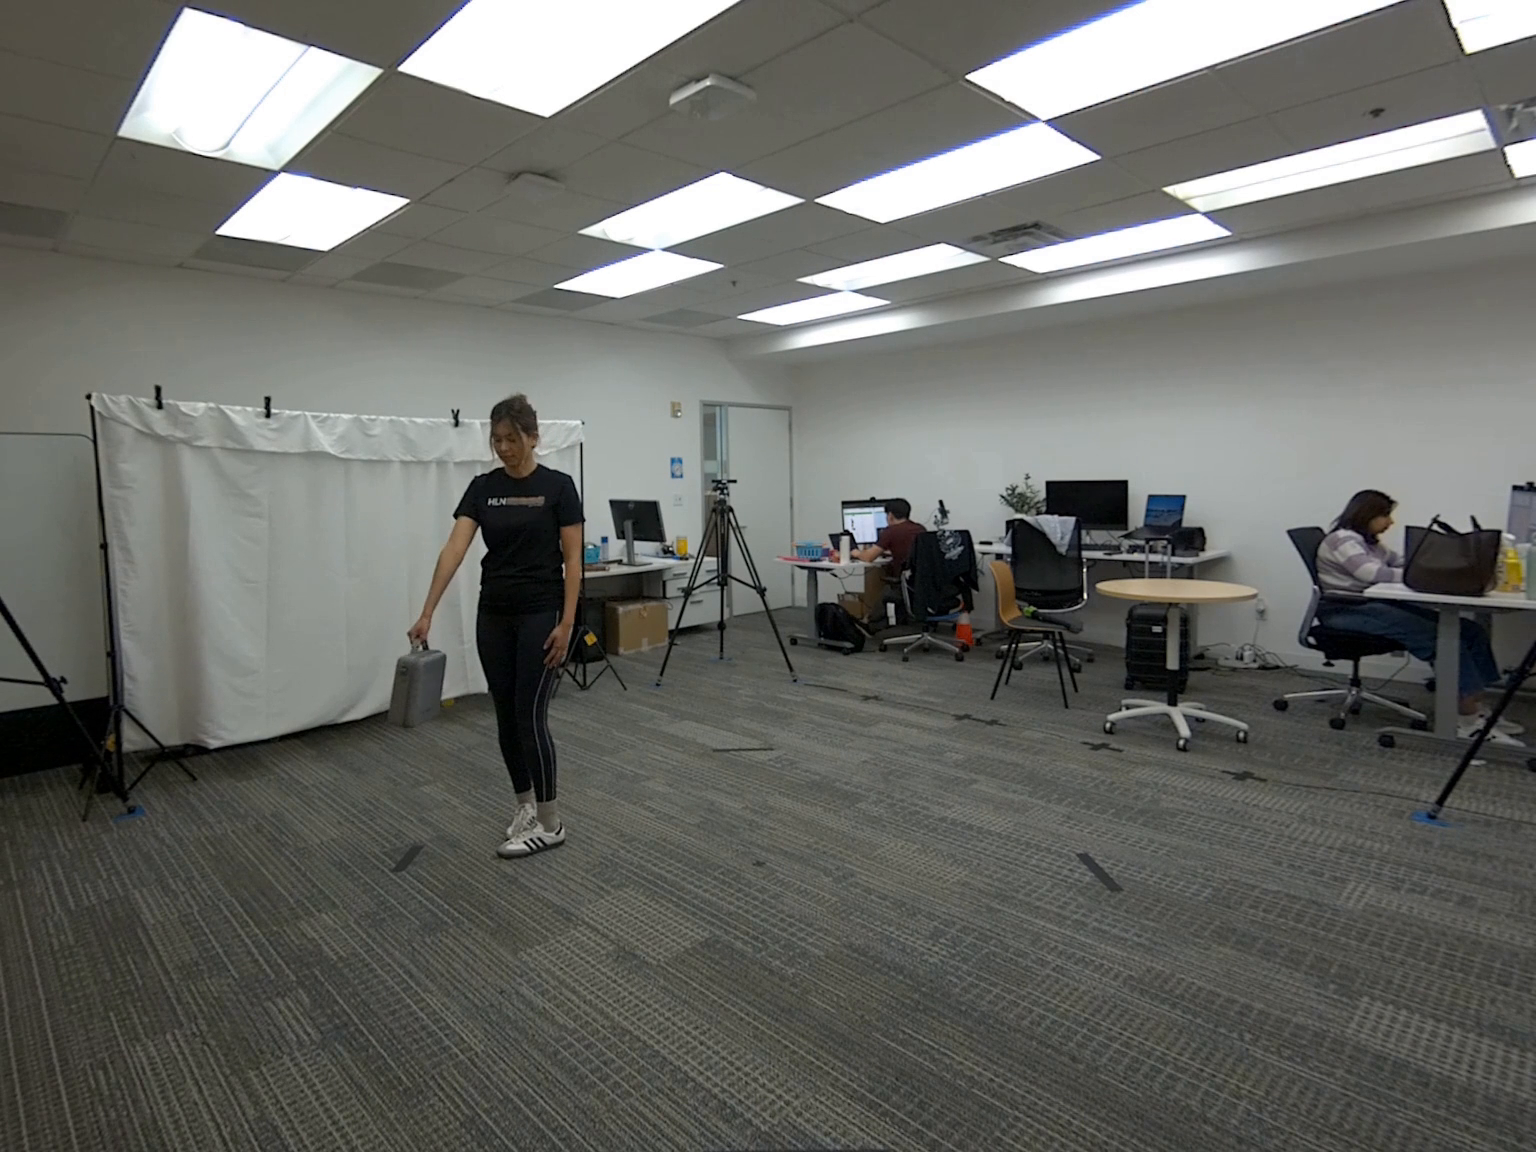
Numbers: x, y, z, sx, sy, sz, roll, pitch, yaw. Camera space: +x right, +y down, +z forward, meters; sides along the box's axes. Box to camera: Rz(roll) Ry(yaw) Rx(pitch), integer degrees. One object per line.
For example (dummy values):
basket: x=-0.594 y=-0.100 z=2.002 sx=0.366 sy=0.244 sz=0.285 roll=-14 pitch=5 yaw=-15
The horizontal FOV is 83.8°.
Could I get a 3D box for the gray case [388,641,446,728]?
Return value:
gray case: x=-1.274 y=0.401 z=3.103 sx=0.104 sy=0.261 sz=0.256 roll=9 pitch=-2 yaw=-2
